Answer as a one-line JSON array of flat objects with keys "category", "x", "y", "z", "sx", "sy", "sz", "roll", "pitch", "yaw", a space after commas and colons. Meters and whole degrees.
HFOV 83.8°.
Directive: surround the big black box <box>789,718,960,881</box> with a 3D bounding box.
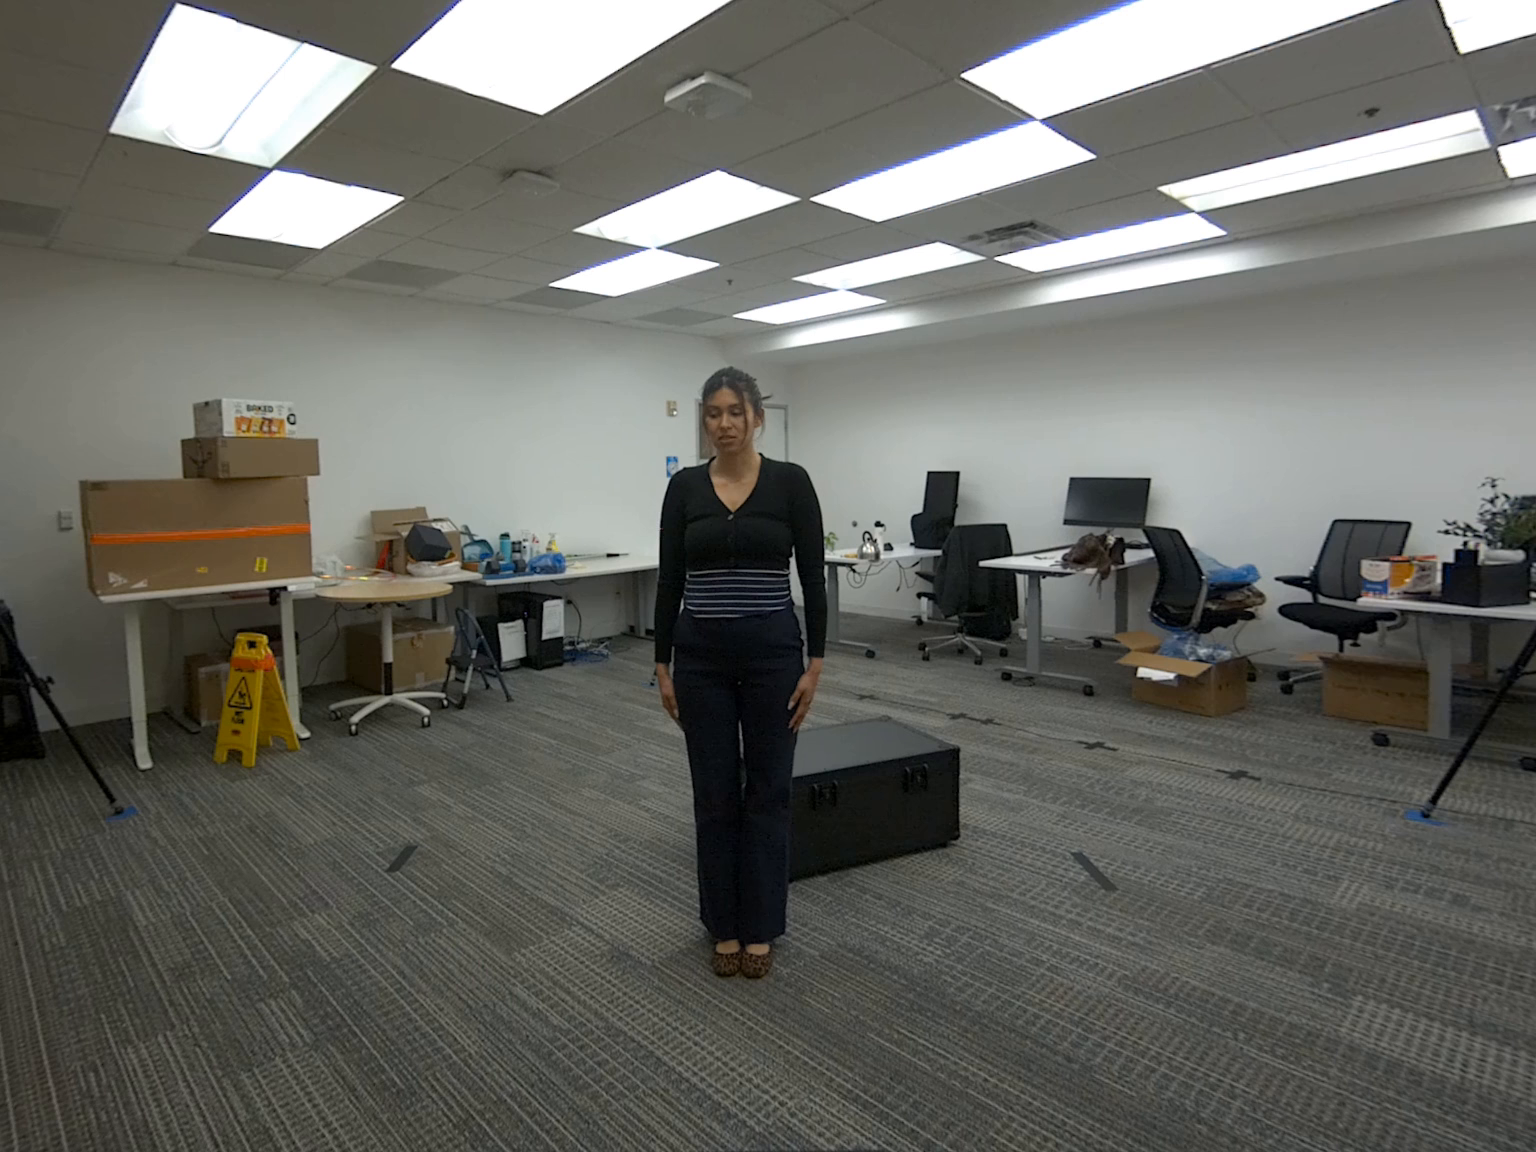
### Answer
[{"category": "big black box", "x": 0.297, "y": 0.830, "z": 3.291, "sx": 0.844, "sy": 0.394, "sz": 0.534, "roll": -4, "pitch": 7, "yaw": -24}]
